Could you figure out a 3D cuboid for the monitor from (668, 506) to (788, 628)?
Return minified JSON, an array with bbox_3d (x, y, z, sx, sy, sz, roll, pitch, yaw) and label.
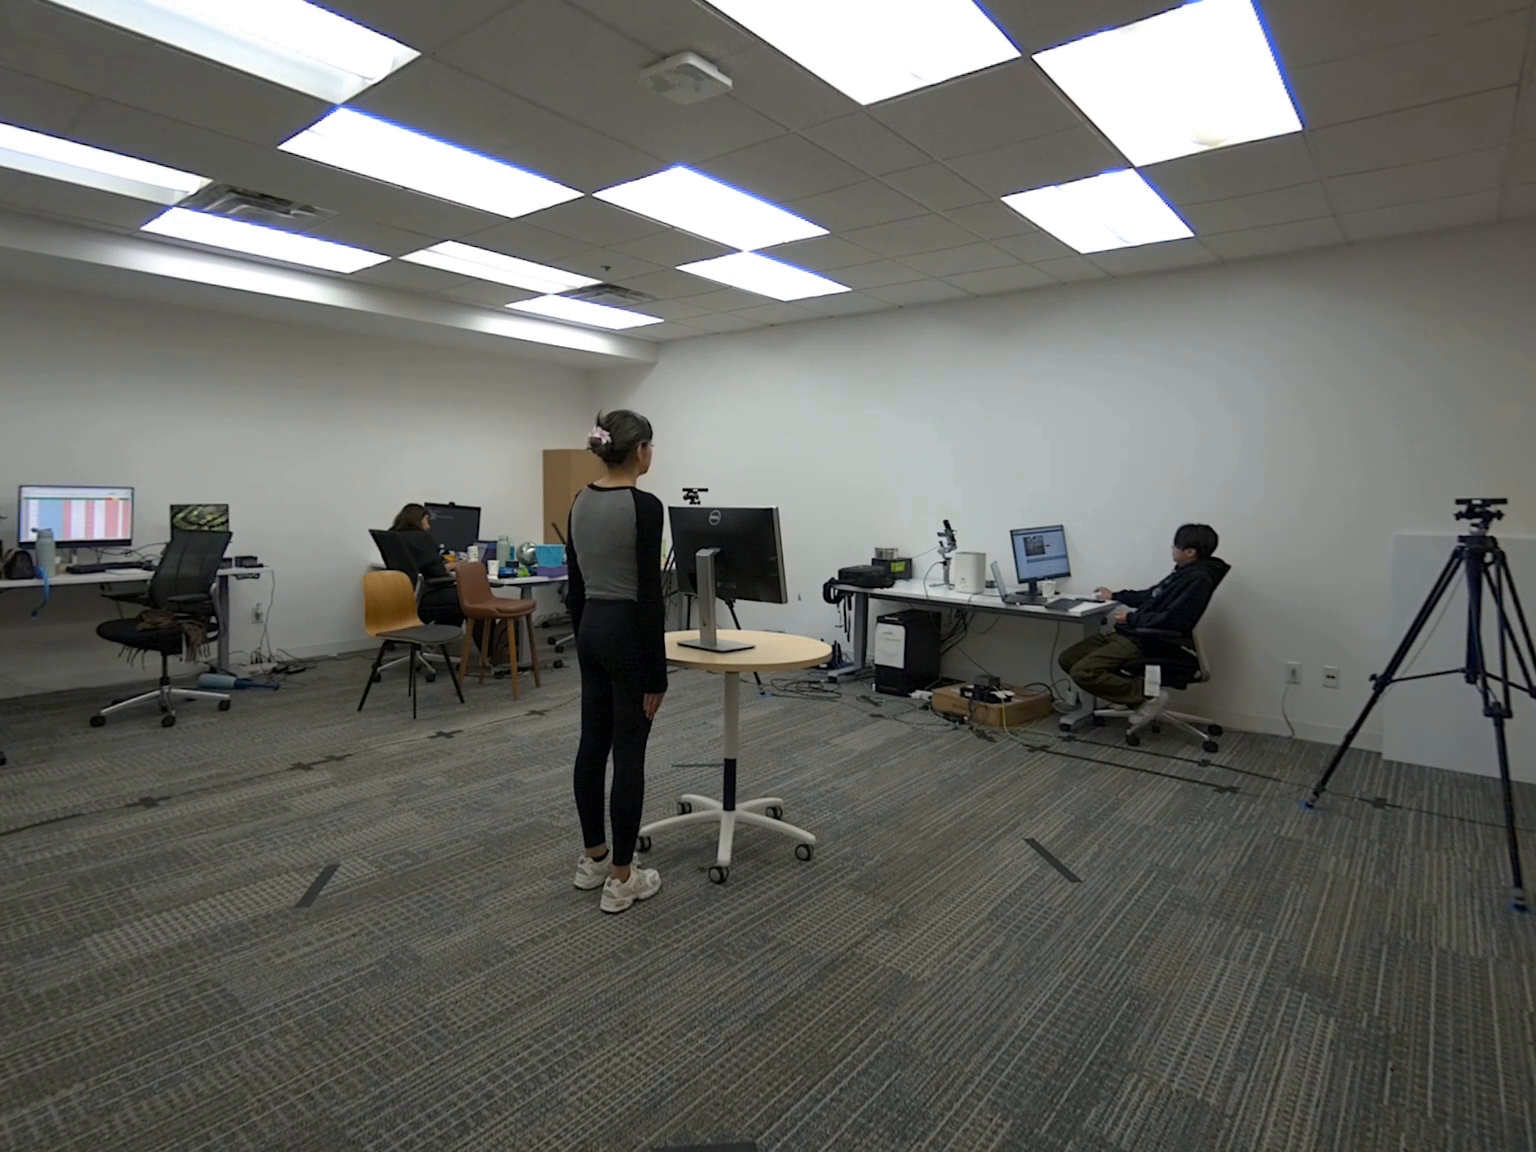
[{"bbox_3d":[-0.205,0.003,3.250,0.557,0.522,0.181,4,2,40],"label":"monitor"}]
